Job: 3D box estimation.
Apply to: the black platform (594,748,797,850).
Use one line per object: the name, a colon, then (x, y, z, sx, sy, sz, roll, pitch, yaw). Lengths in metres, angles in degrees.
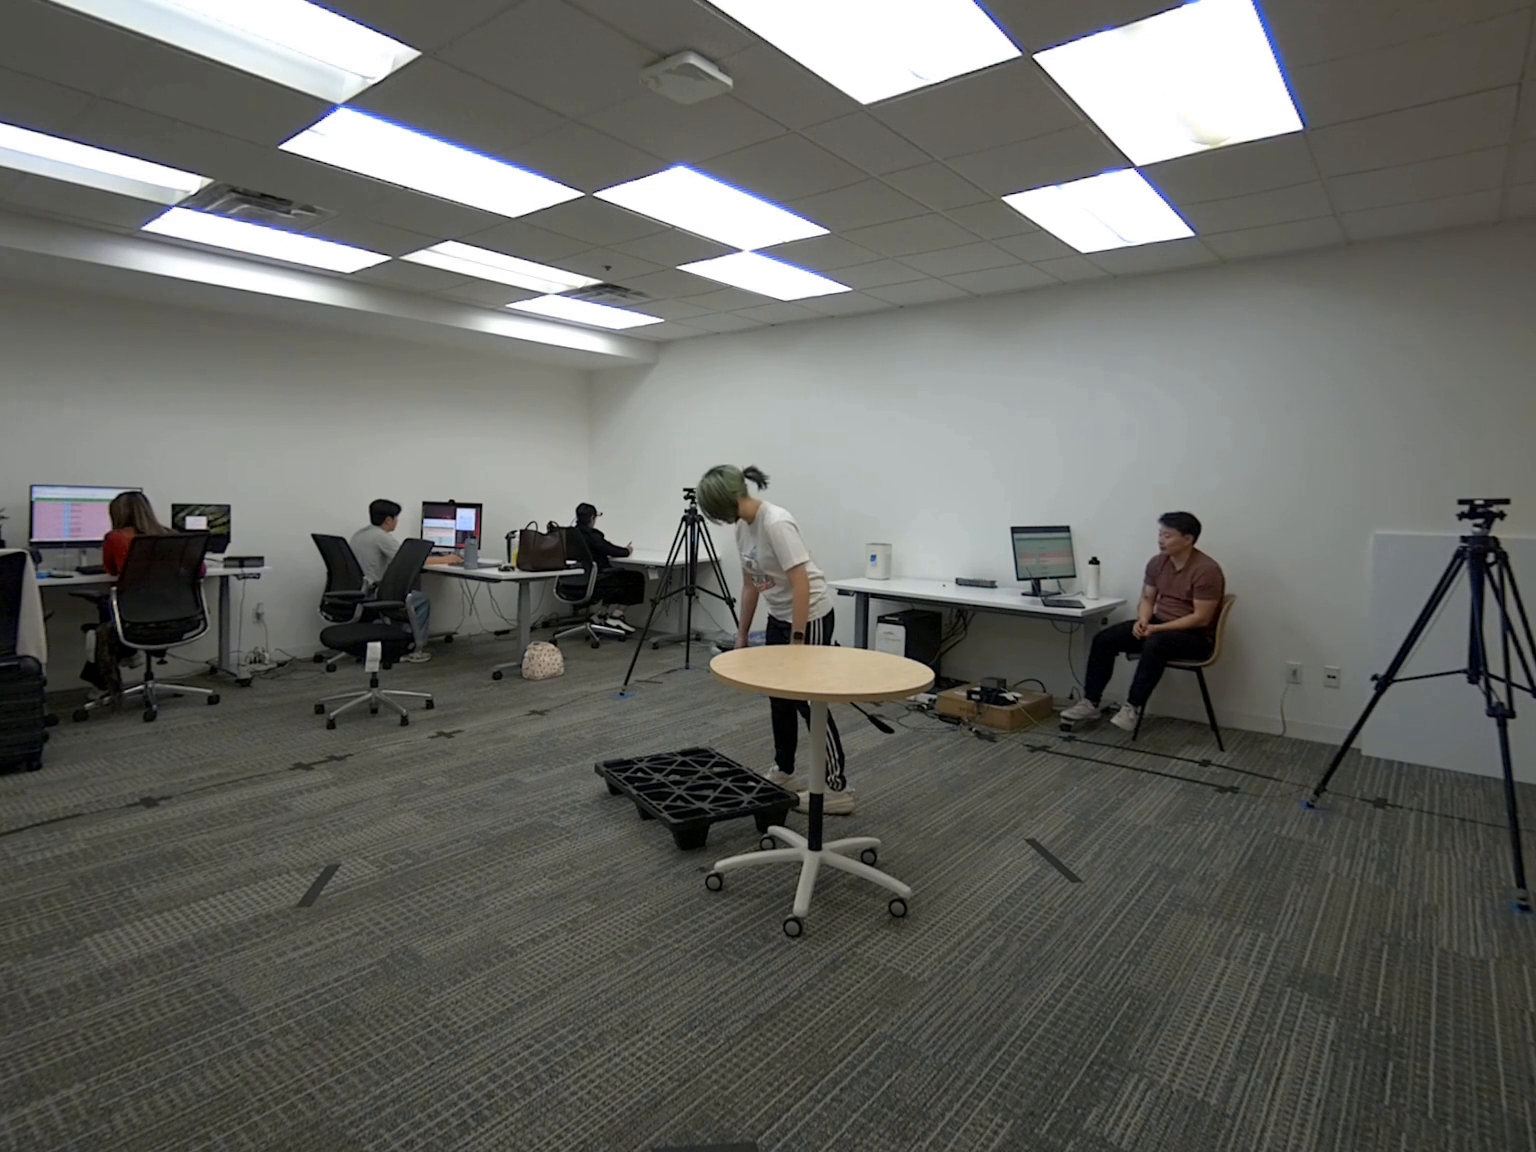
black platform: (-0.342, 0.942, 3.692, 0.588, 0.143, 0.831, -2, 6, -32)
